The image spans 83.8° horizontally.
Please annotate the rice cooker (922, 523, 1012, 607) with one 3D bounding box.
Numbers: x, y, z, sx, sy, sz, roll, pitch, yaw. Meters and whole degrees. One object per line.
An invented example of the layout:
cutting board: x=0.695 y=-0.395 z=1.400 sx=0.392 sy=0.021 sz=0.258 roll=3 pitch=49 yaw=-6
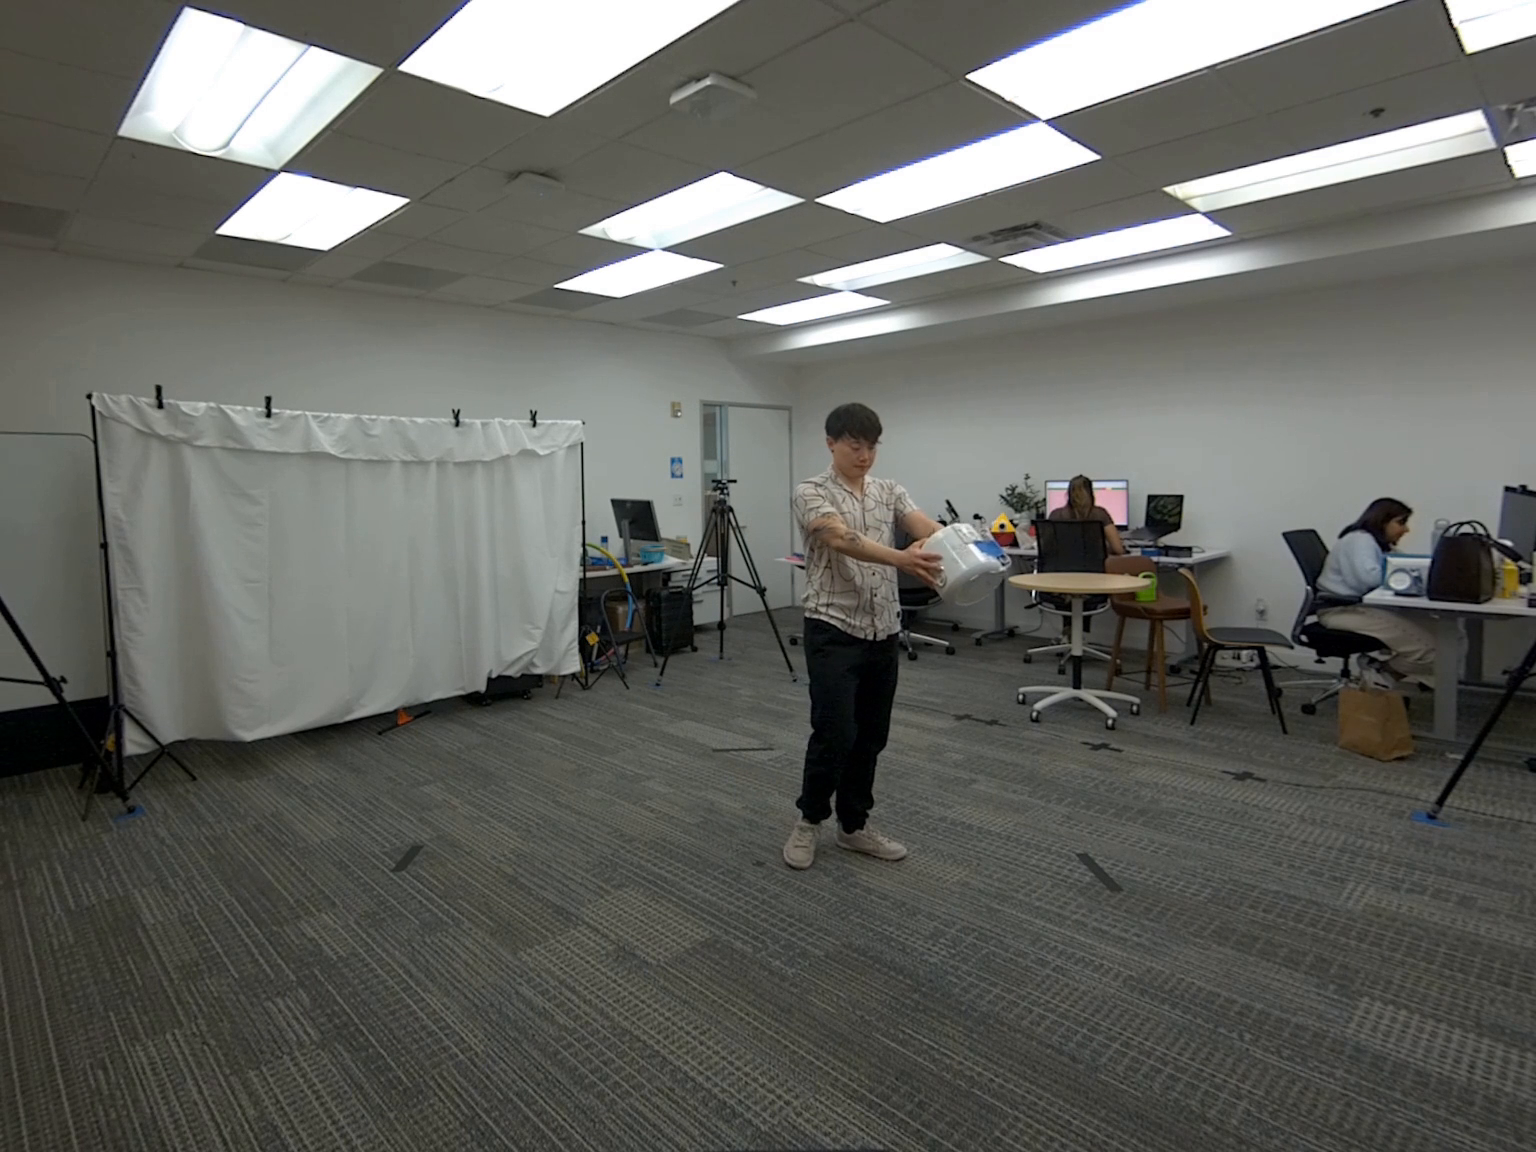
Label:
rice cooker: x=0.585 y=-0.041 z=2.687 sx=0.213 sy=0.217 sz=0.241 roll=-5 pitch=47 yaw=-27
